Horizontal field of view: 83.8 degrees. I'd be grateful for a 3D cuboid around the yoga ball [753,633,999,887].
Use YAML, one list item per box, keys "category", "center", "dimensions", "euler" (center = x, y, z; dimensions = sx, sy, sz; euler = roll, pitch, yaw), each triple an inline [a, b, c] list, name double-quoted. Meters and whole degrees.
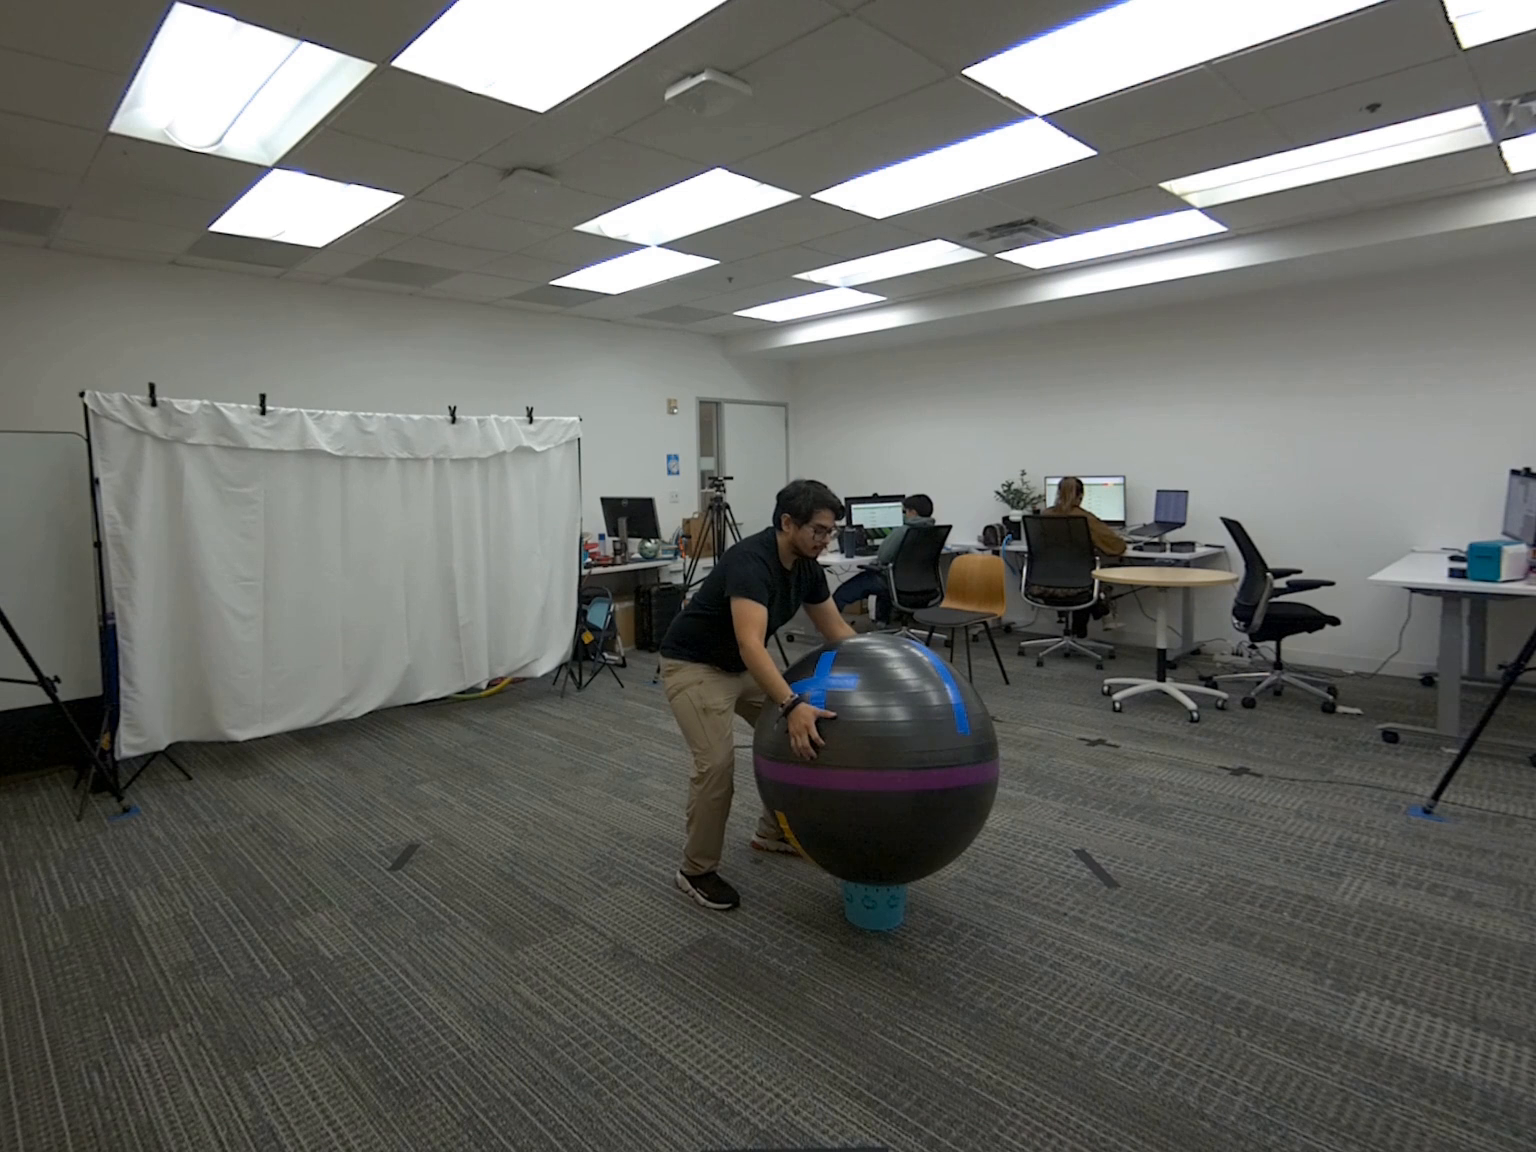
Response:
- category: "yoga ball"
  center: [0.340, 0.569, 2.679]
  dimensions: [0.757, 0.755, 0.762]
  euler: [-1, 5, -2]
